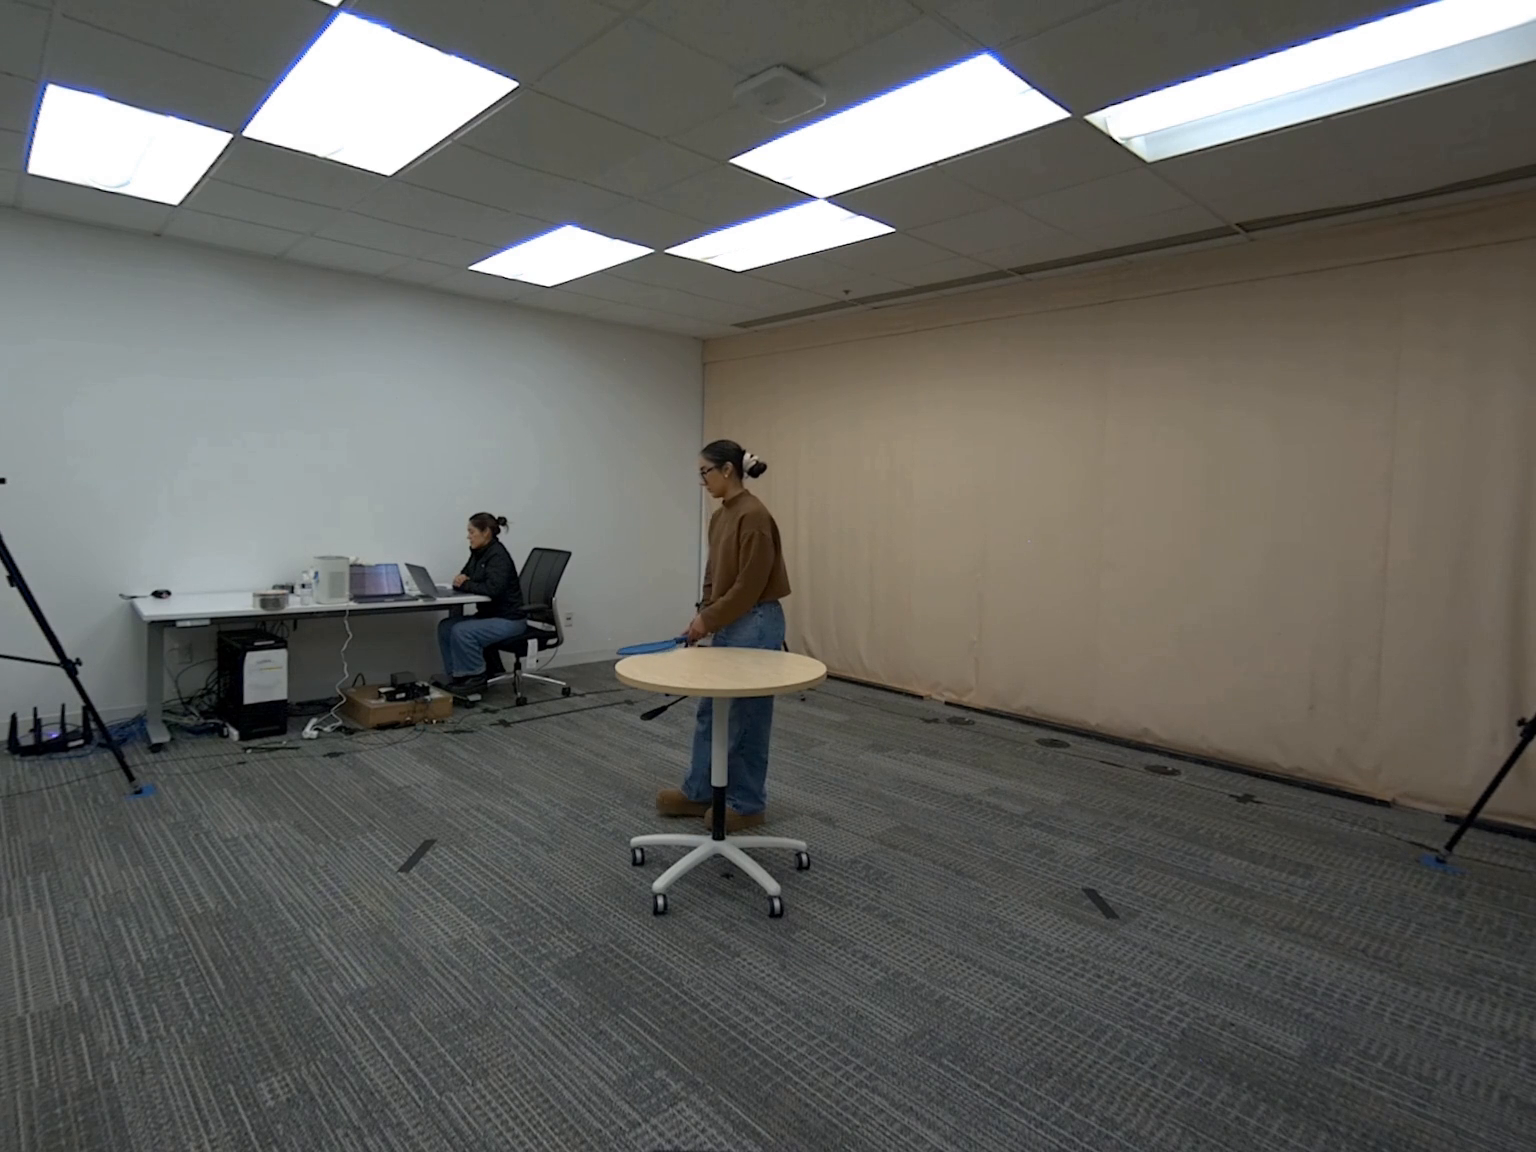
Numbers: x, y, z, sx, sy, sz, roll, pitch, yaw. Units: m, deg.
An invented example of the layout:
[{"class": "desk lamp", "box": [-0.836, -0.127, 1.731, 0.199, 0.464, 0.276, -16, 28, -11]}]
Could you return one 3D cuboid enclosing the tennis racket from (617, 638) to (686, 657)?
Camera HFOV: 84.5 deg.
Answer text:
[{"class": "tennis racket", "box": [-0.445, 0.297, 3.443, 0.219, 0.032, 0.424, -1, 6, 40]}]
